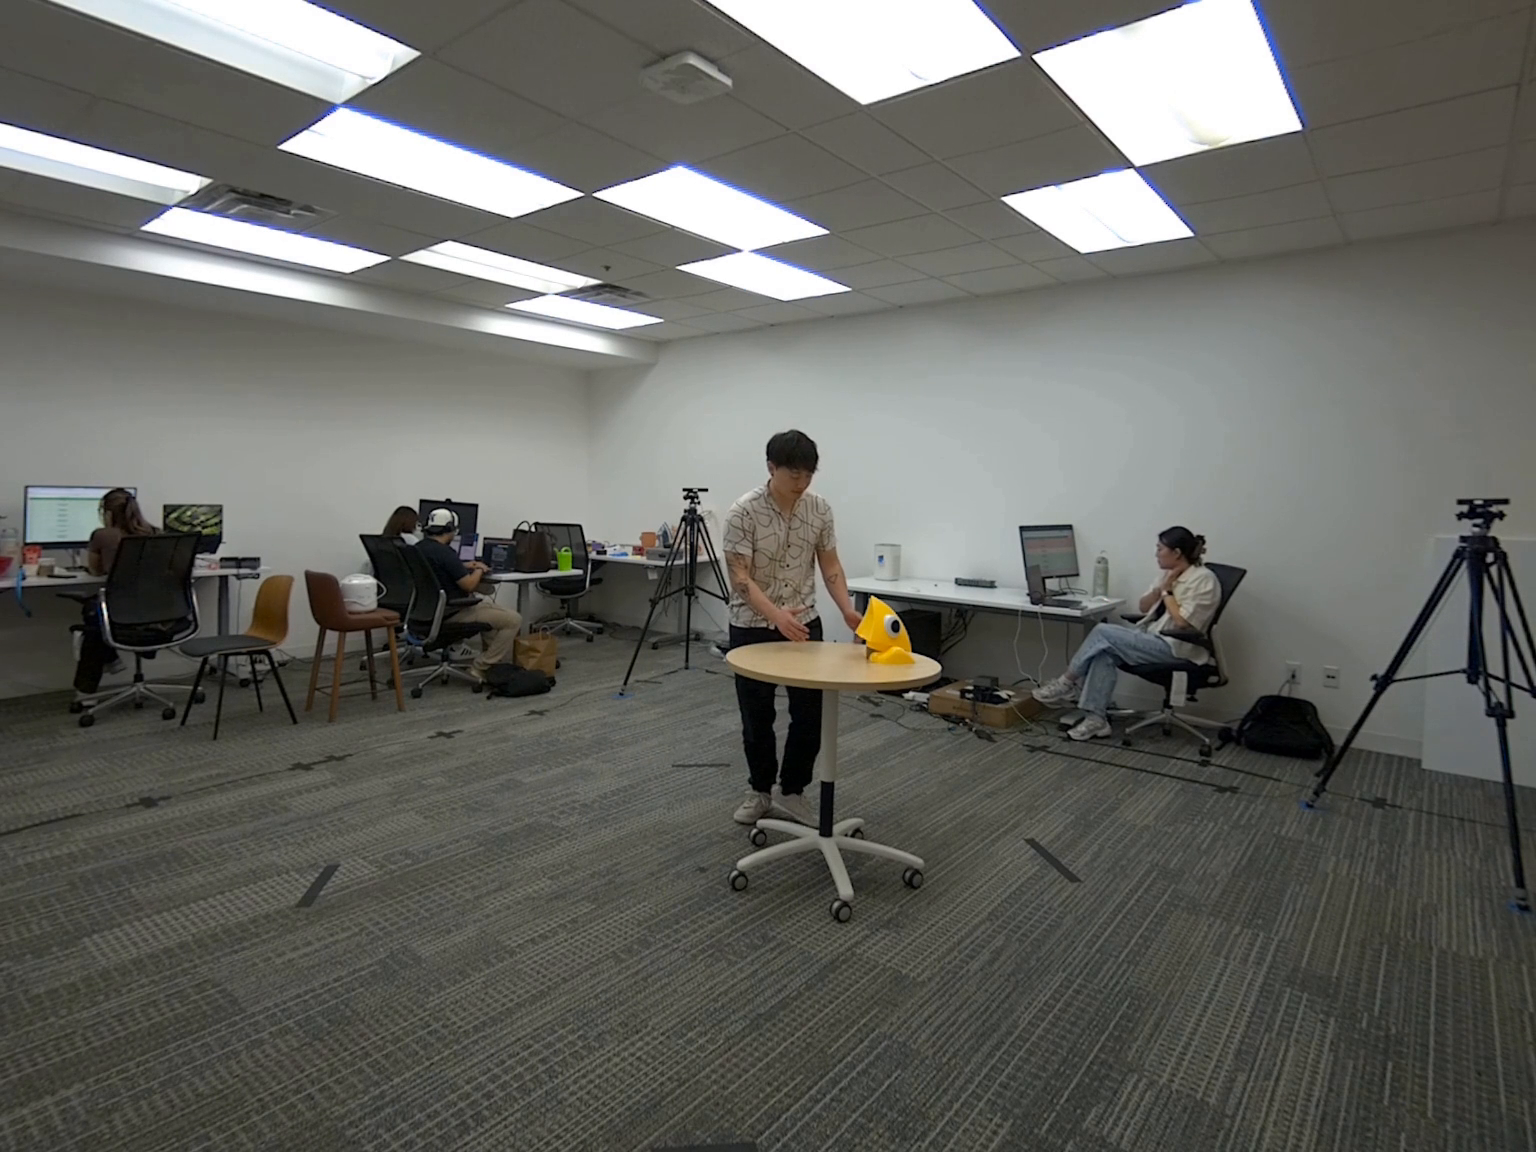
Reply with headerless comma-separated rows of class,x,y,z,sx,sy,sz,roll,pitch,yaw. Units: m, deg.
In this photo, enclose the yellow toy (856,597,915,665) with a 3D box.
yellow toy,0.427,0.183,3.114,0.191,0.230,0.207,-1,4,-9
